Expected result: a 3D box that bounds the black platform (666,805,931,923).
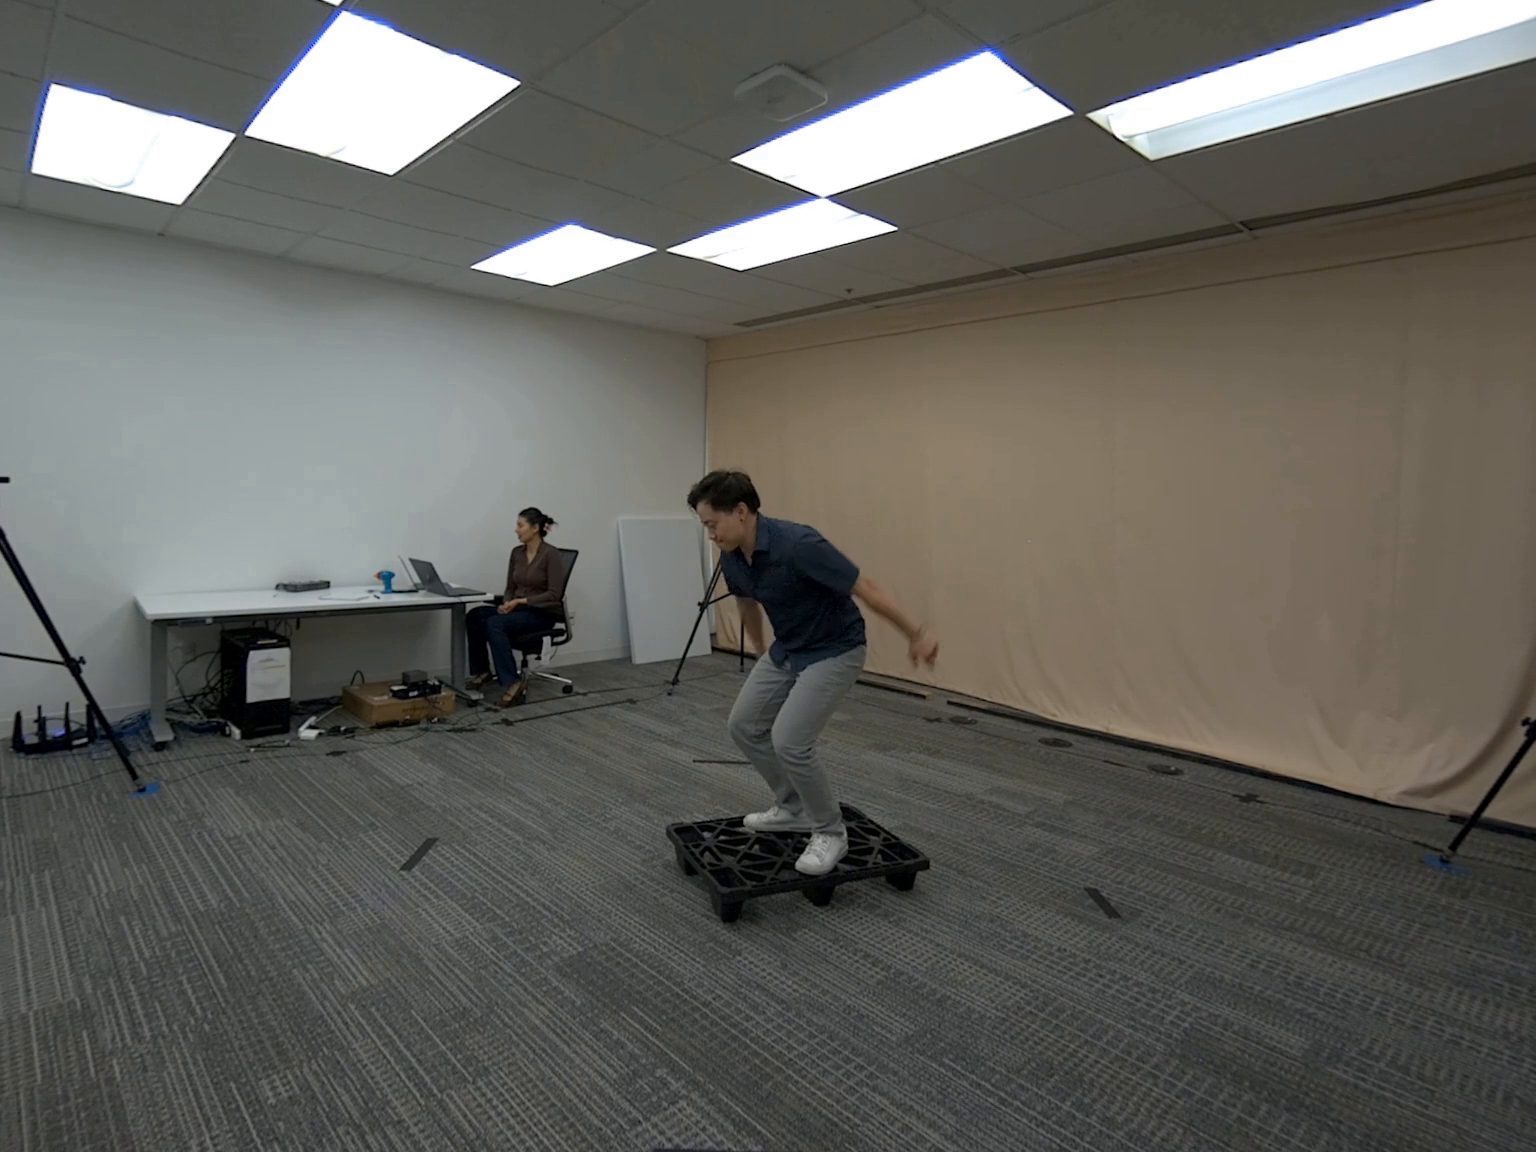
[{"bbox_3d":[0.090,1.043,3.092,0.792,0.143,0.617,-1,6,-23],"label":"black platform"}]
